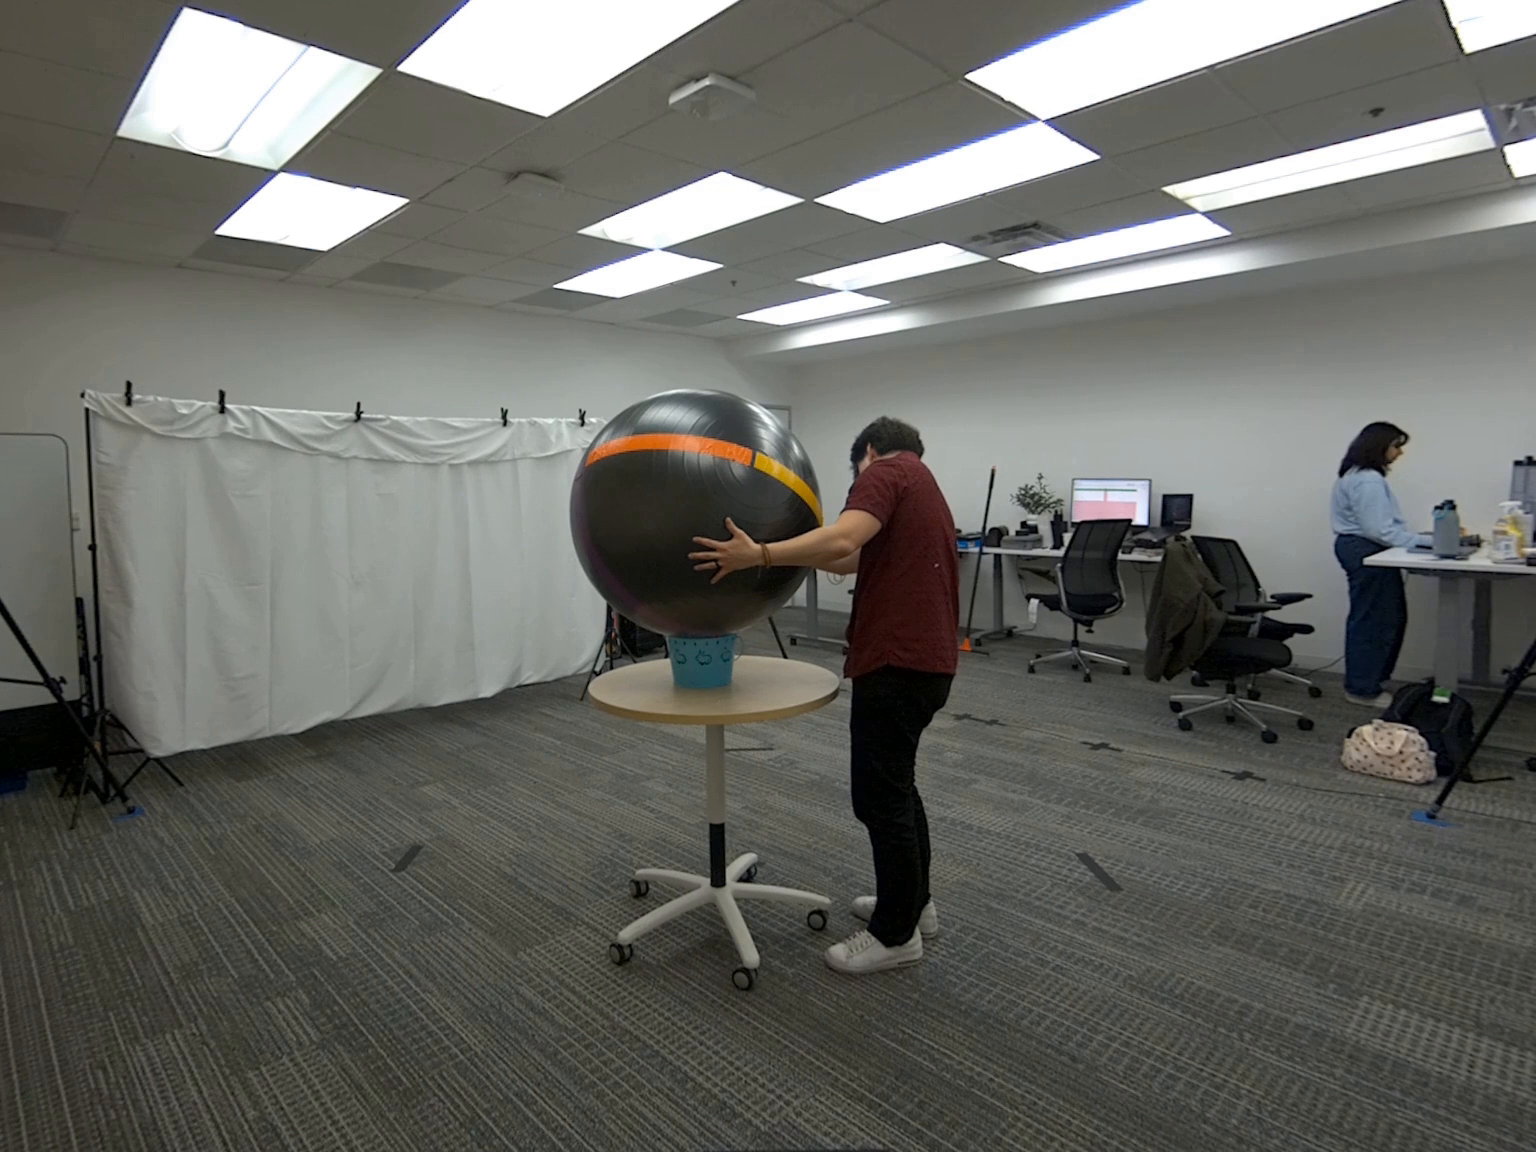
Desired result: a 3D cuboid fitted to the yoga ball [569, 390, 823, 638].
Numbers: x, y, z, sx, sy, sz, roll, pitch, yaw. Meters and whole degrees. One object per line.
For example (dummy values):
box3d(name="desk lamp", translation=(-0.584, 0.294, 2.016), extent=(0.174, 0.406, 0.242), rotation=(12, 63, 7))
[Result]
box3d(name="yoga ball", translation=(-0.213, -0.182, 2.589), extent=(0.757, 0.755, 0.762), rotation=(-1, 5, -2))
